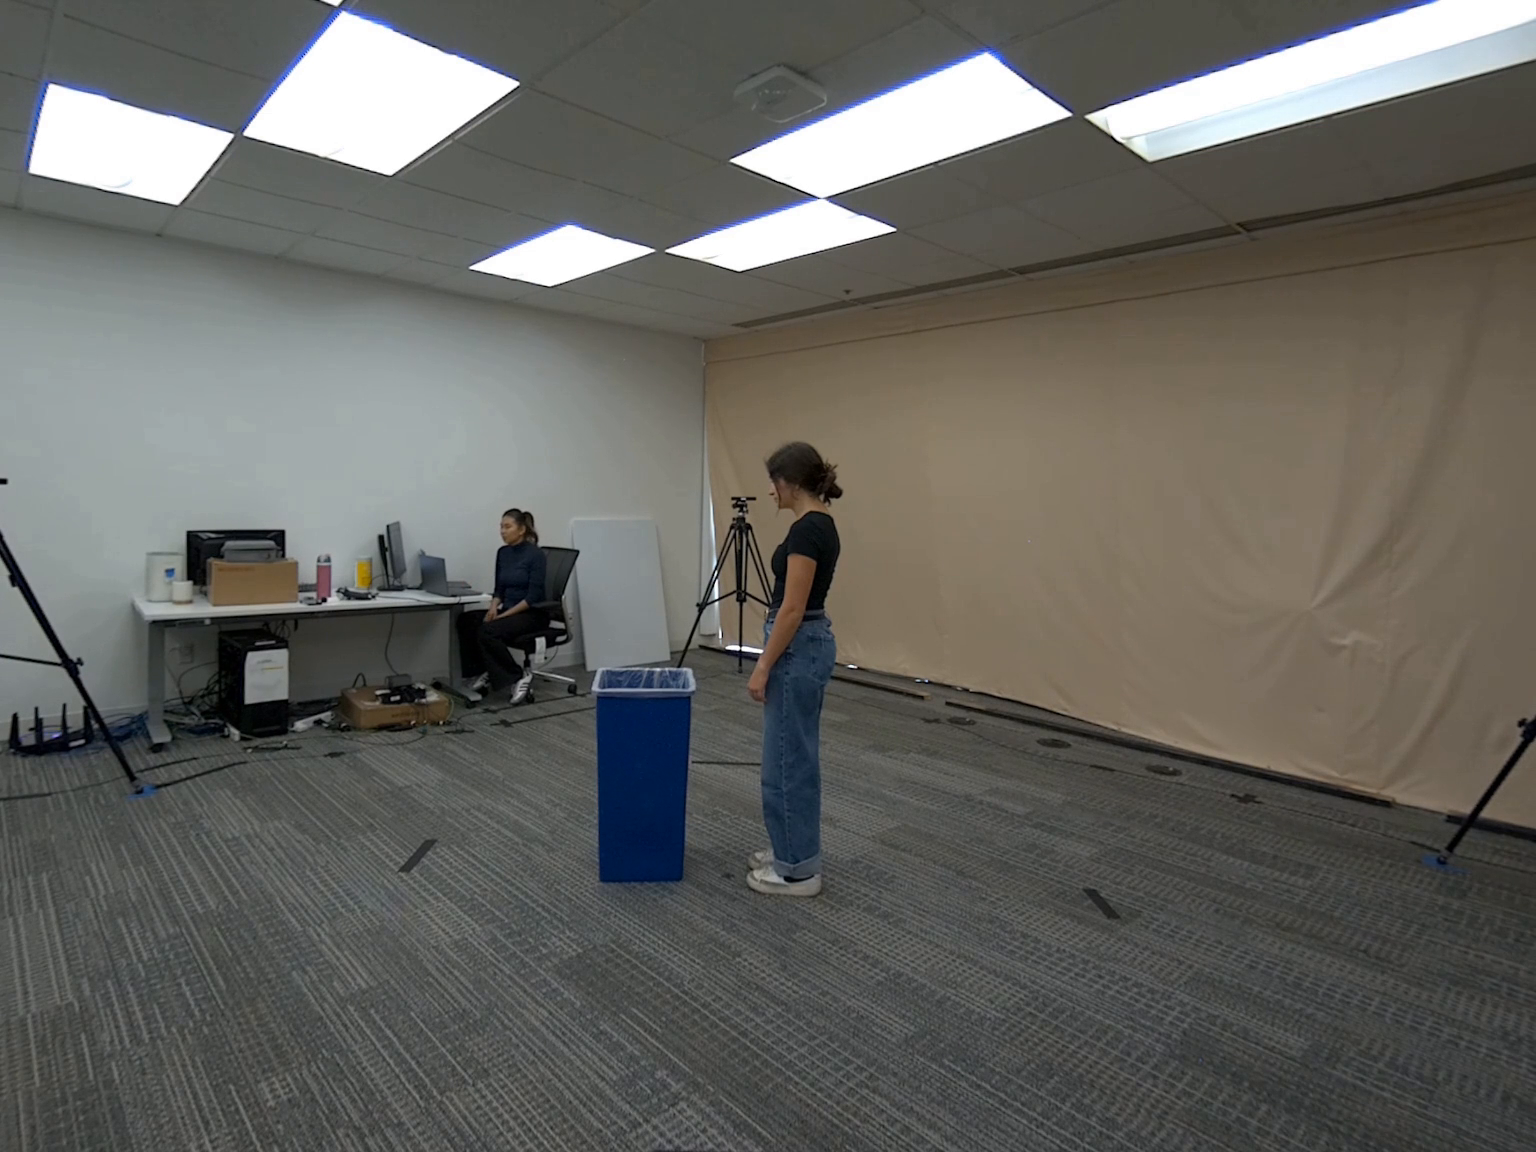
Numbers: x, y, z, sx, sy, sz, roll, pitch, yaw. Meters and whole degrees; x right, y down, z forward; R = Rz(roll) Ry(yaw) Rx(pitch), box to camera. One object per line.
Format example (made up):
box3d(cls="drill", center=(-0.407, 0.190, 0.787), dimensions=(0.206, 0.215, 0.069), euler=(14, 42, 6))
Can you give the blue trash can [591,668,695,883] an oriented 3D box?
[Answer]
box3d(cls="blue trash can", center=(-0.469, 0.736, 3.165), dimensions=(0.376, 0.712, 0.377), euler=(1, 3, -7))
